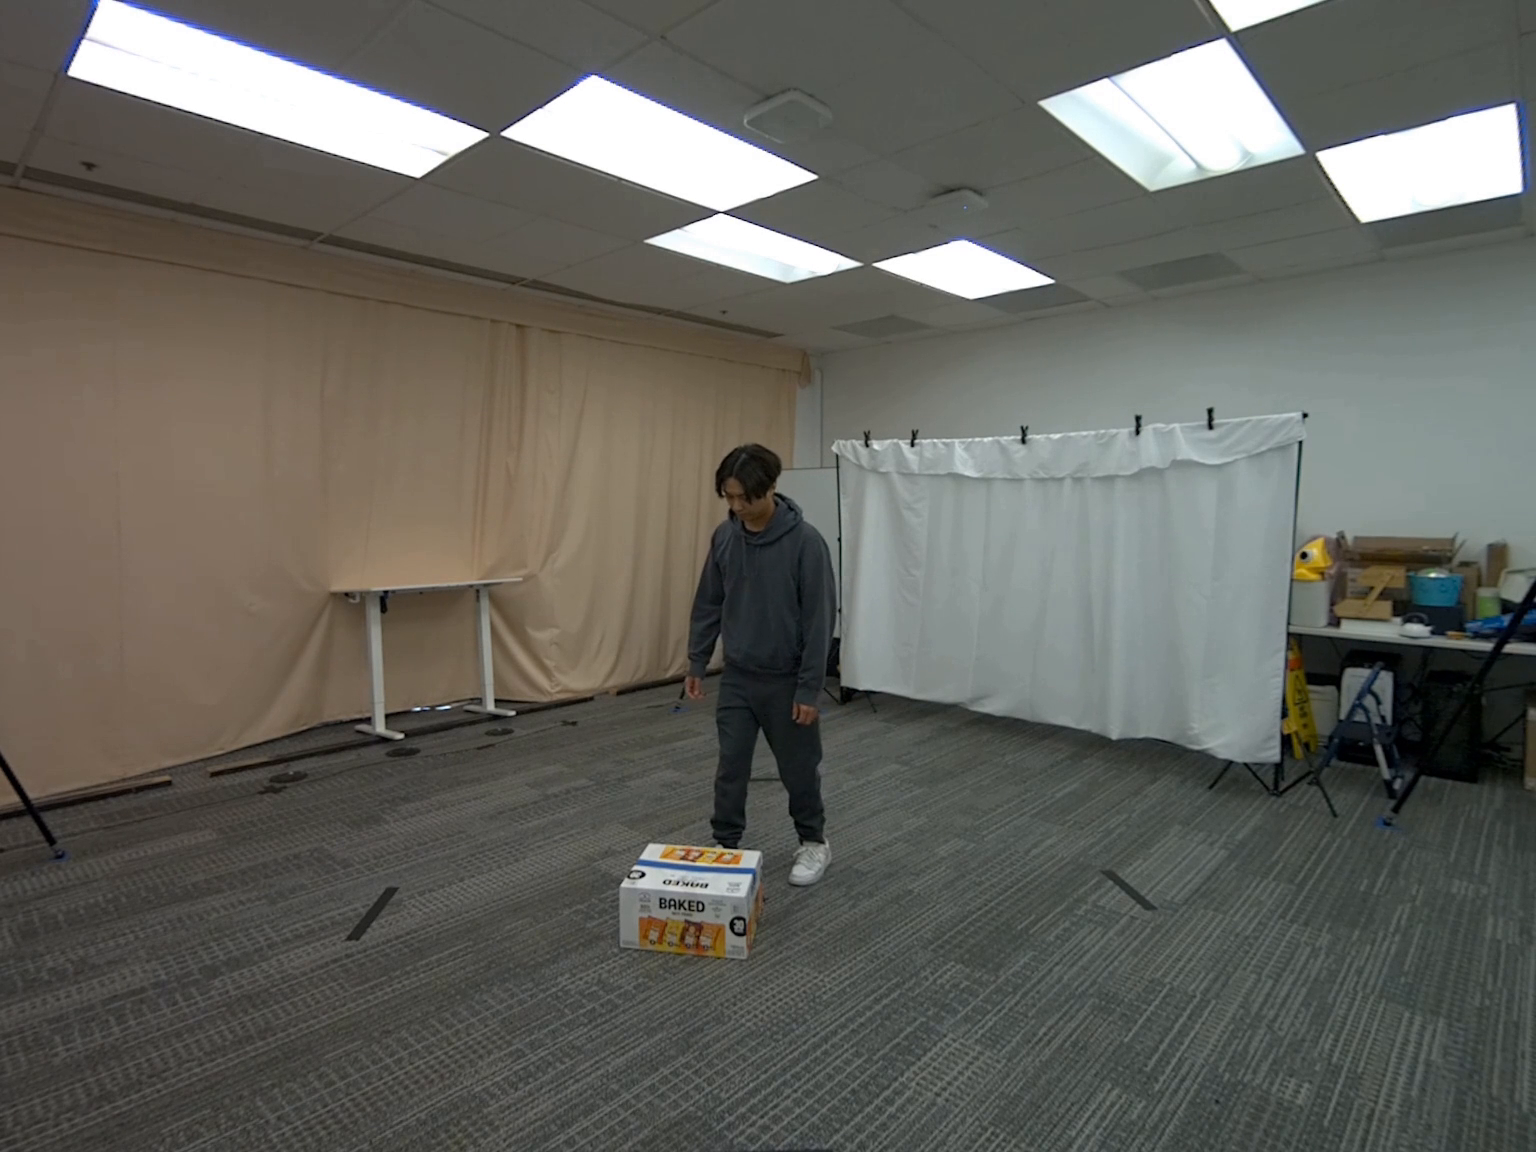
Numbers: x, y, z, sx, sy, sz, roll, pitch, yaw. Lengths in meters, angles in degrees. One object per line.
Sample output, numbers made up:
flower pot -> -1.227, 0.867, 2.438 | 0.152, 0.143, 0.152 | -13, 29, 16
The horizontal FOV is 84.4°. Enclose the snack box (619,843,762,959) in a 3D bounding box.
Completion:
snack box -> -0.241, 1.062, 2.769 | 0.410, 0.205, 0.337 | 0, 4, 10
